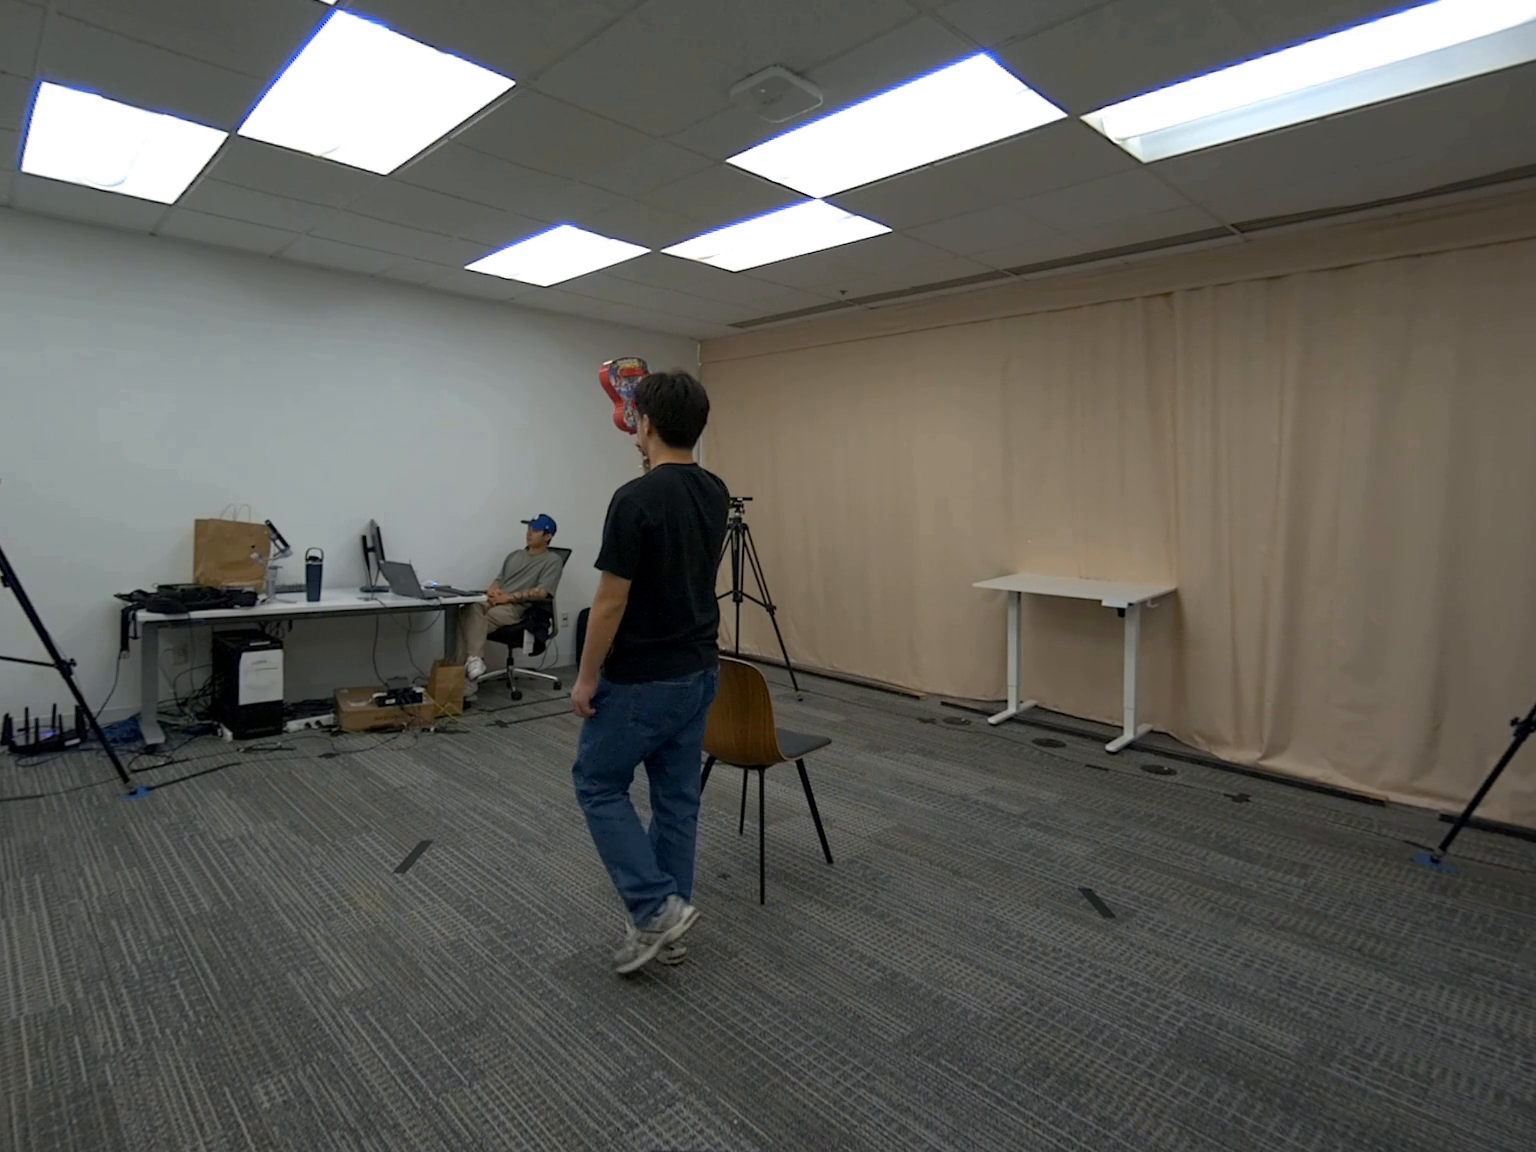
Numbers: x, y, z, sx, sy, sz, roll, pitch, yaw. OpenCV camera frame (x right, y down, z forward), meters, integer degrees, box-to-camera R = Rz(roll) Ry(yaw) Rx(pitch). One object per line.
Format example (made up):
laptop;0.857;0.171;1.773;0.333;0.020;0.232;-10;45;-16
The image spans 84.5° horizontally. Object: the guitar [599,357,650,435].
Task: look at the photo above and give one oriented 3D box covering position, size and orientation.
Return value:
guitar;-0.508;-0.549;3.064;0.189;0.497;0.072;-7;2;-41
